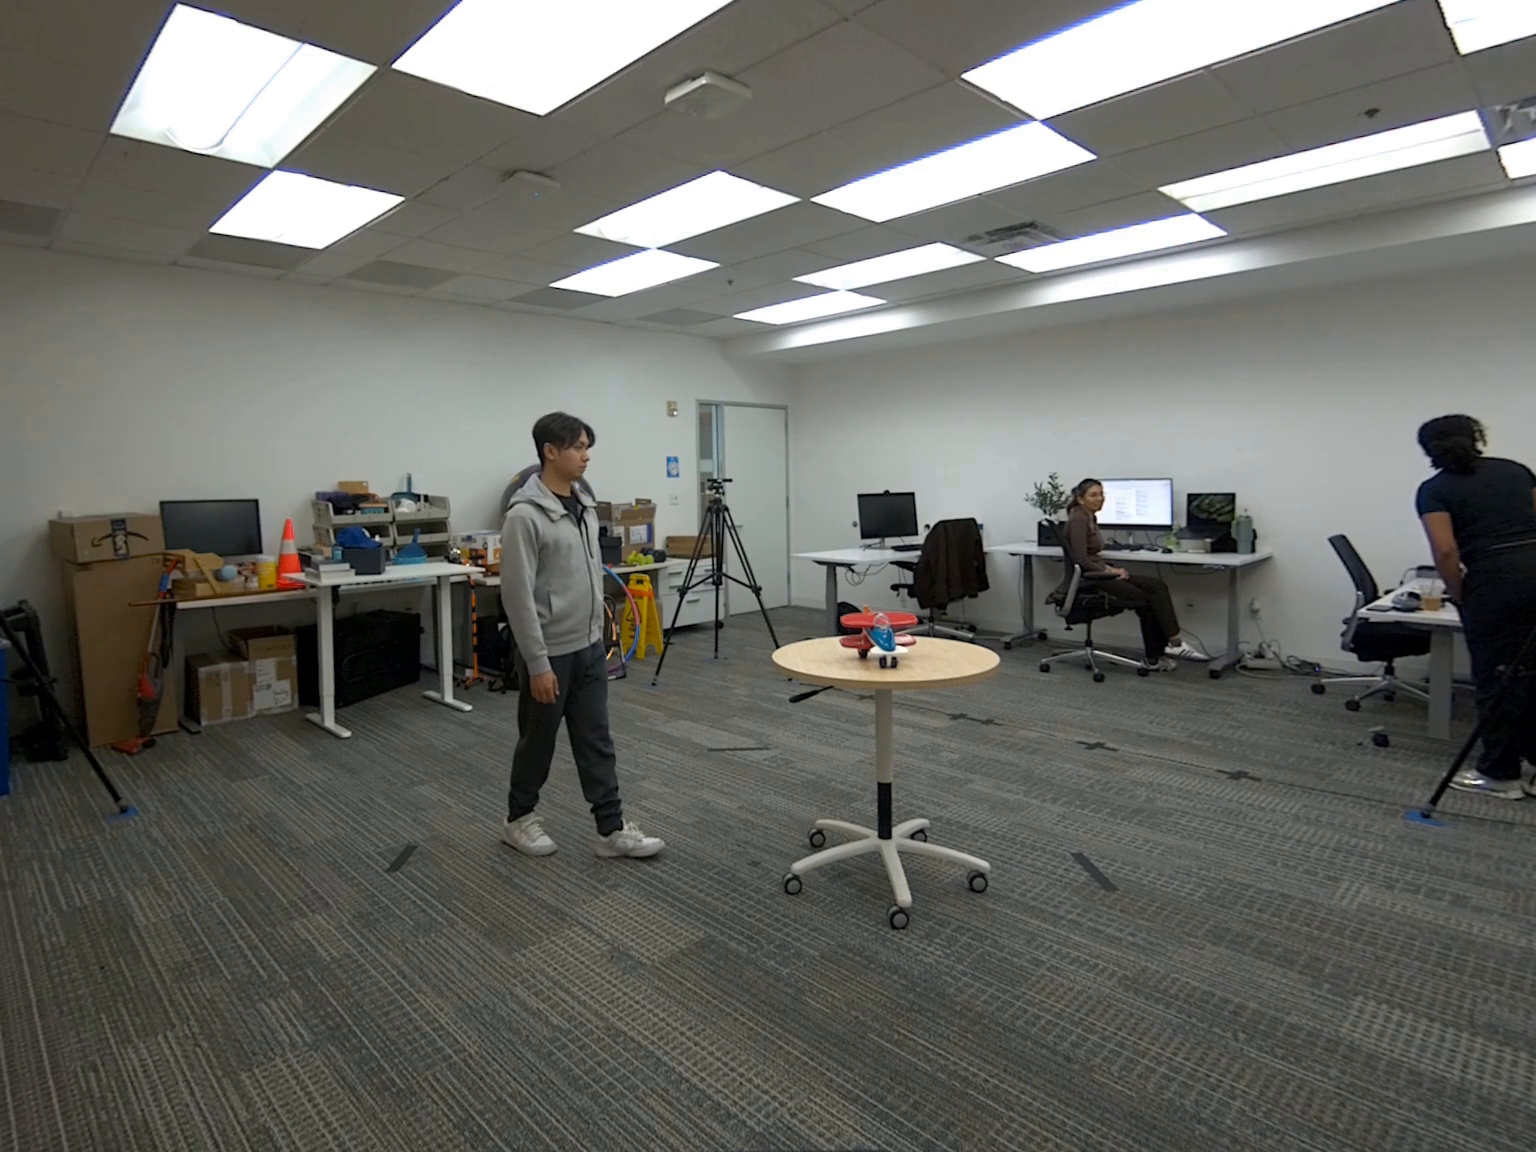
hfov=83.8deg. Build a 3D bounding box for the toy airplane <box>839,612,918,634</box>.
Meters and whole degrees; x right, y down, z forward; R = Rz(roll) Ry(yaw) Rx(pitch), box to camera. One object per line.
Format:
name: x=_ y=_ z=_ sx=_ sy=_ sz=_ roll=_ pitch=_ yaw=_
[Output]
toy airplane: x=0.394 y=0.212 z=2.826 sx=0.245 sy=0.156 sz=0.266 roll=-6 pitch=6 yaw=-30
